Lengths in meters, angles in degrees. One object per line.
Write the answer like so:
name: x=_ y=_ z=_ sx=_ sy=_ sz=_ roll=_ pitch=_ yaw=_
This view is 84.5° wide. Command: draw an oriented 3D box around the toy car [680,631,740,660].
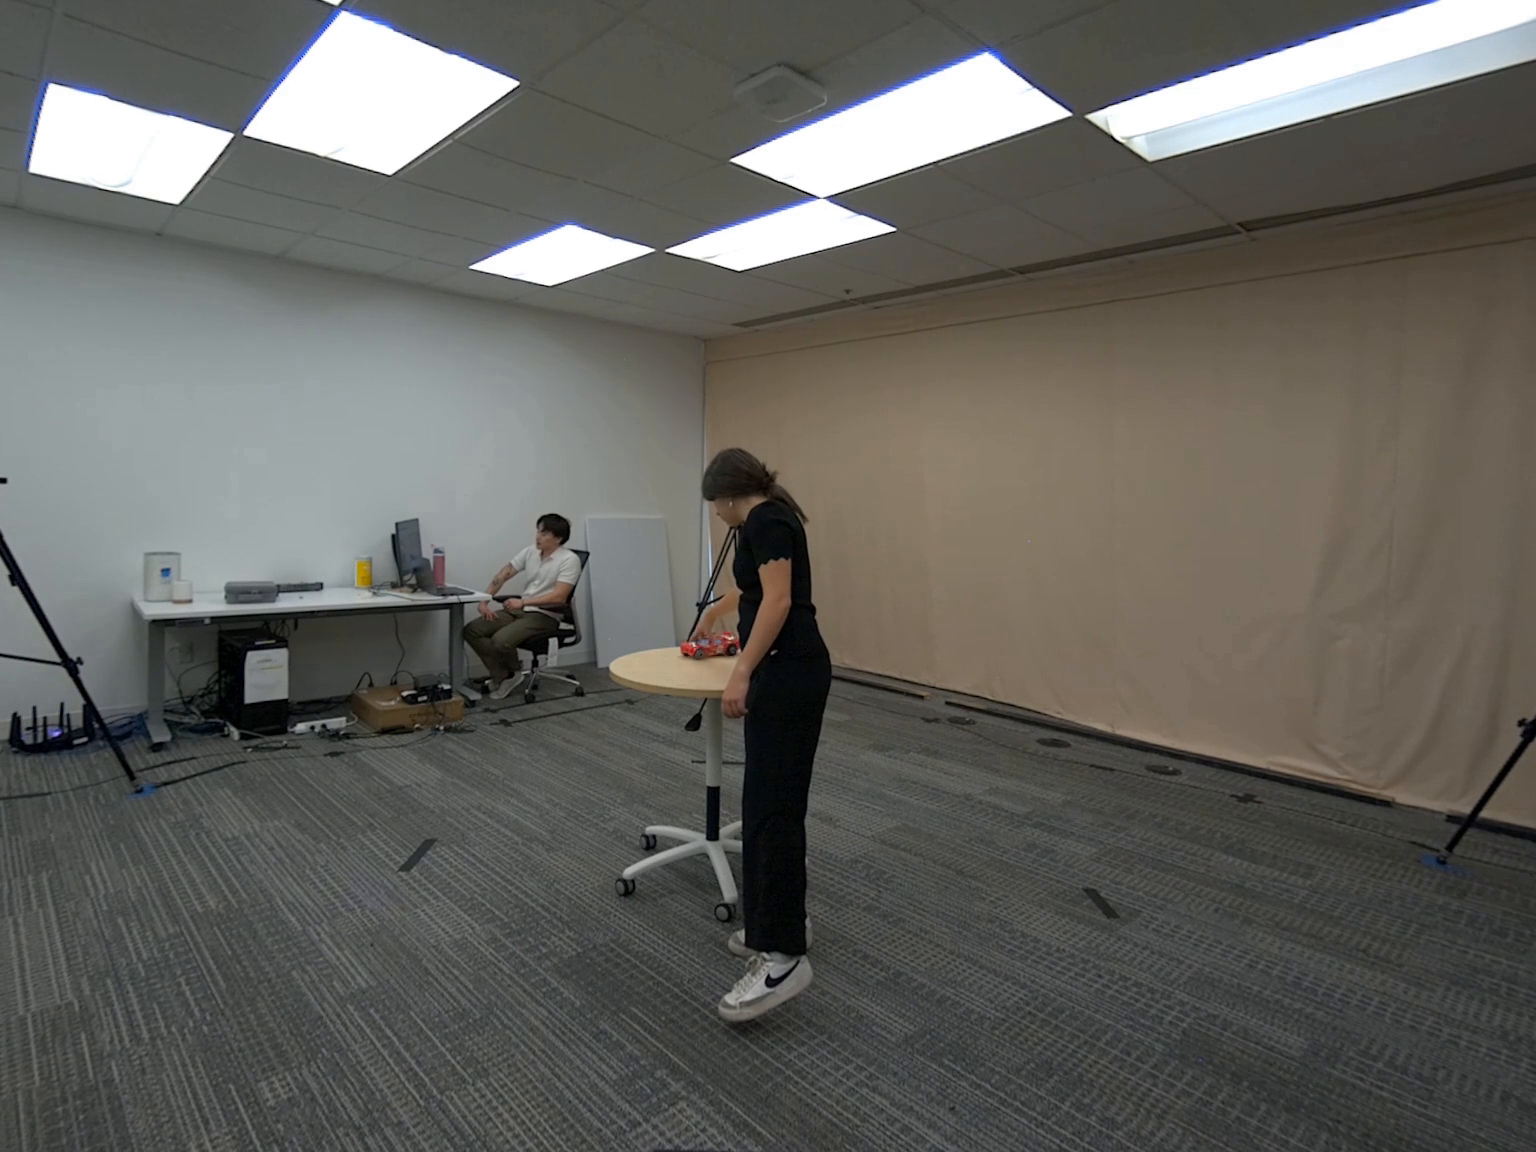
toy car: x=-0.217 y=0.277 z=3.234 sx=0.250 sy=0.082 sz=0.133 roll=-16 pitch=12 yaw=-32
